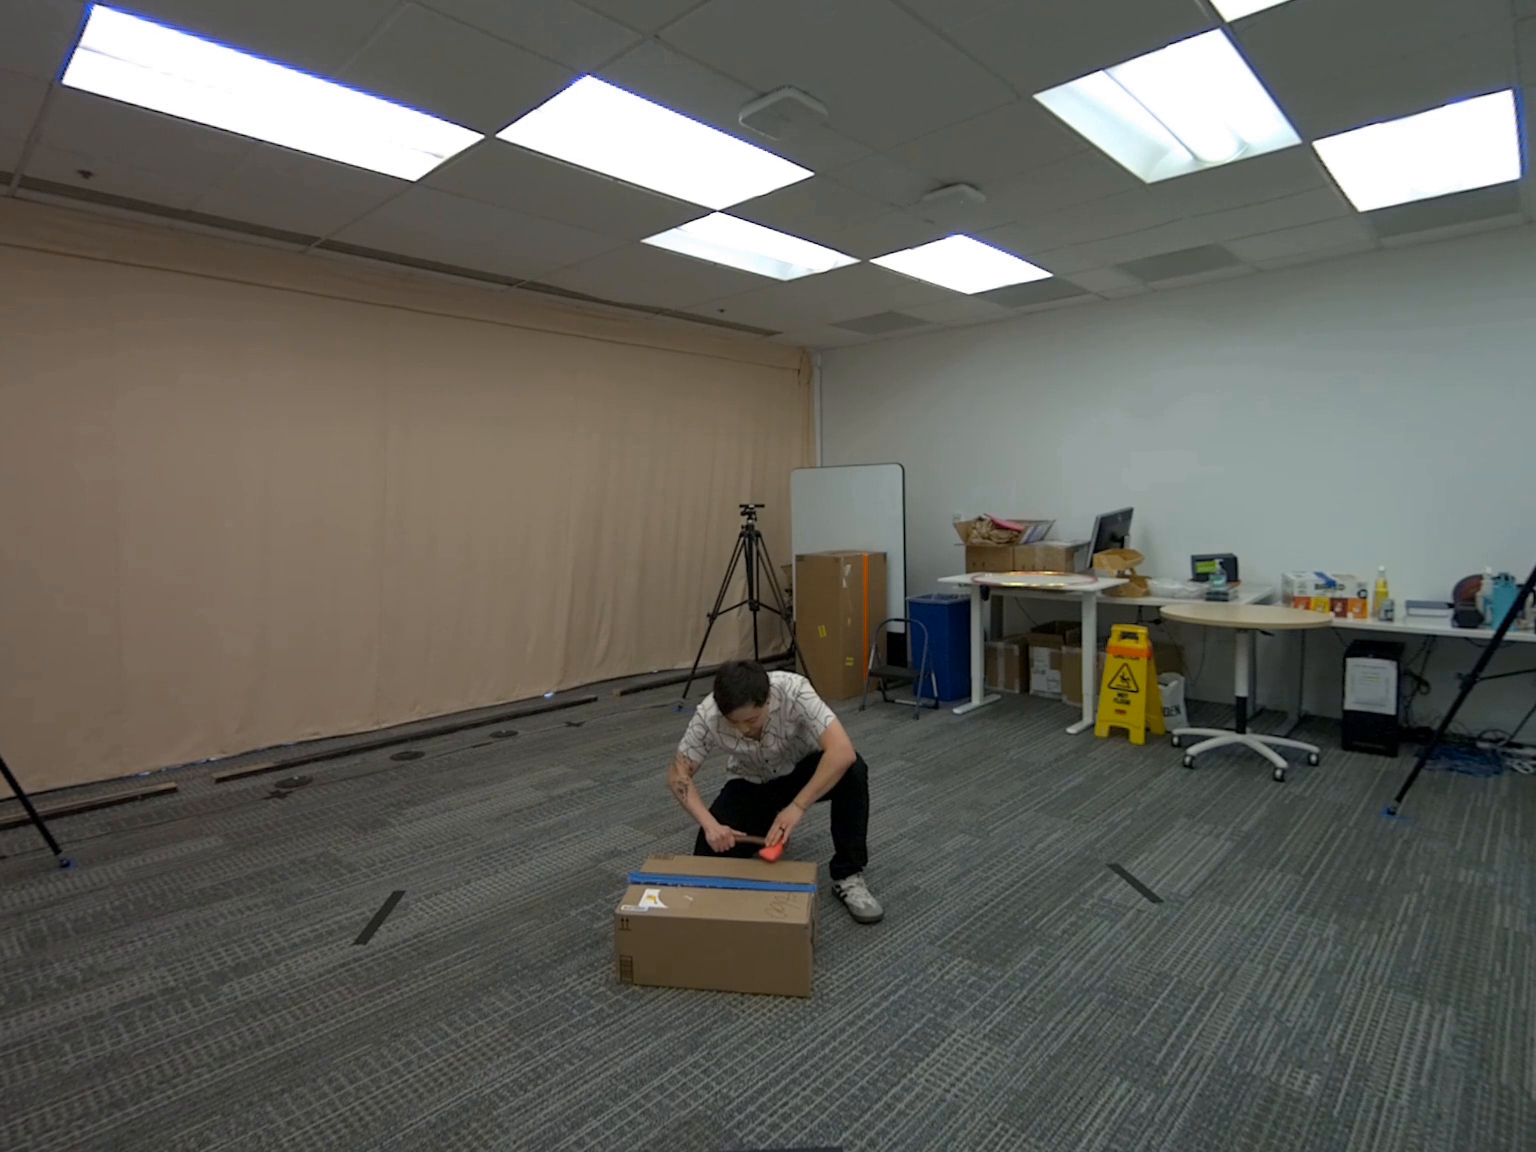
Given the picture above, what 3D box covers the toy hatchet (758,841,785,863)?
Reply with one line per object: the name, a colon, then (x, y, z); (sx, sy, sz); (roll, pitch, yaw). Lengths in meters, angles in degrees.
toy hatchet: (-0.065, 0.889, 2.801); (0.272, 0.029, 0.133); (-6, 35, 5)
